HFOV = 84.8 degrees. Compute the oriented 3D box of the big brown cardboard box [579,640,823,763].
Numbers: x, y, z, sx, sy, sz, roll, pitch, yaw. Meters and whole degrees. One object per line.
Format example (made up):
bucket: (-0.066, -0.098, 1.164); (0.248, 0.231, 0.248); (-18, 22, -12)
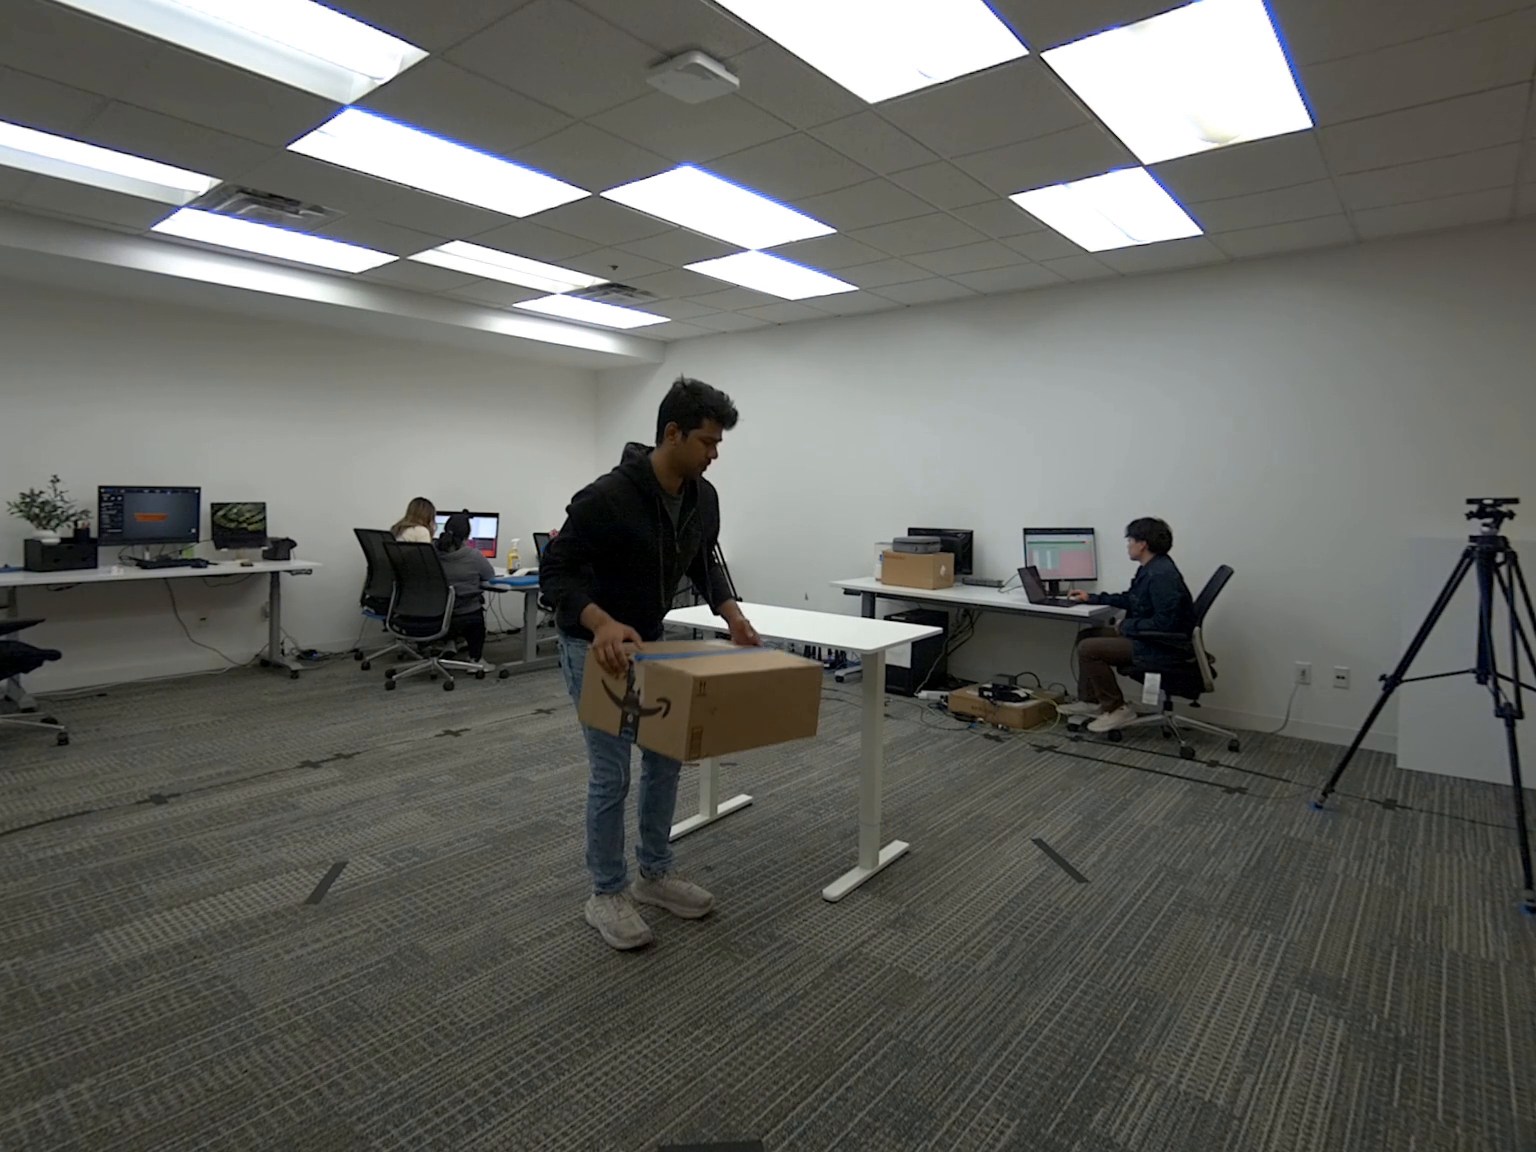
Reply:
big brown cardboard box: (-0.177, 0.332, 2.411); (0.432, 0.233, 0.570); (8, 4, 38)
